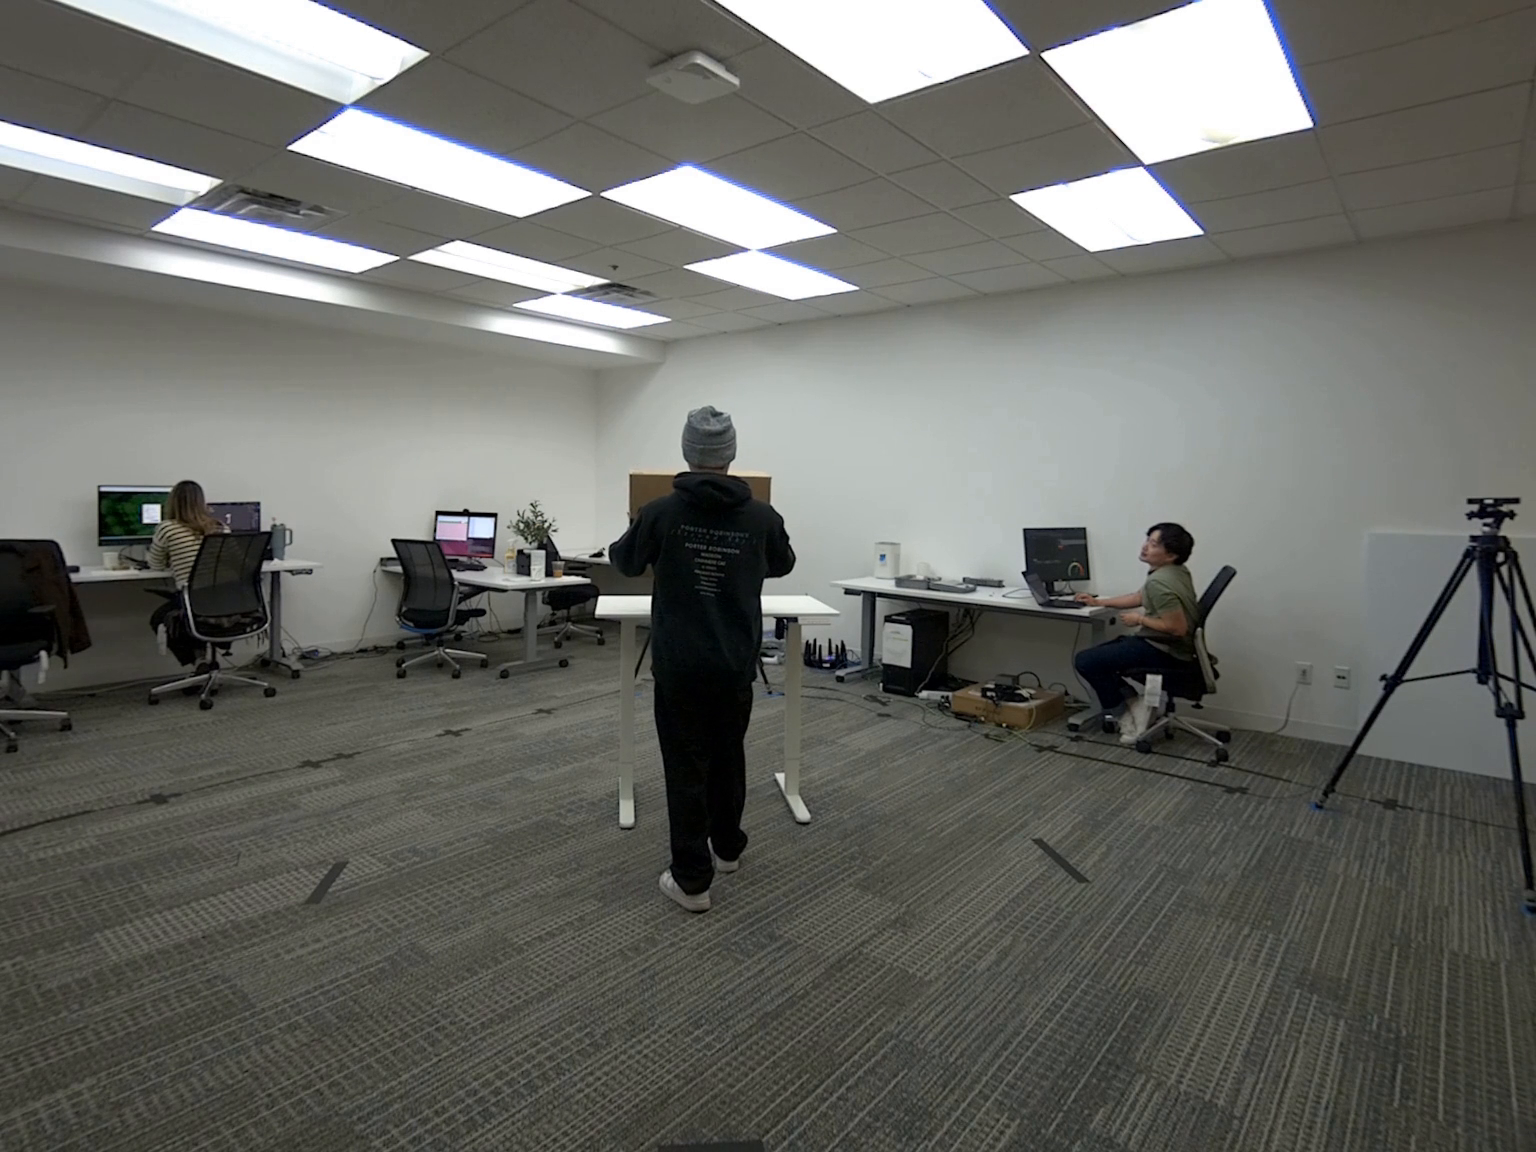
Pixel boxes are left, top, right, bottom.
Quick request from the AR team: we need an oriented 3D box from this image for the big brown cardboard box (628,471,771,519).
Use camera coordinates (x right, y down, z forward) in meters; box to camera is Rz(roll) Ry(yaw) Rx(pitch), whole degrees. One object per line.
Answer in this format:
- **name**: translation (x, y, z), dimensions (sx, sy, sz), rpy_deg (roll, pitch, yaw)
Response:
- **big brown cardboard box**: translation (-0.286, -0.218, 3.480), dimensions (0.584, 0.414, 0.237), rpy_deg (1, 9, -8)
